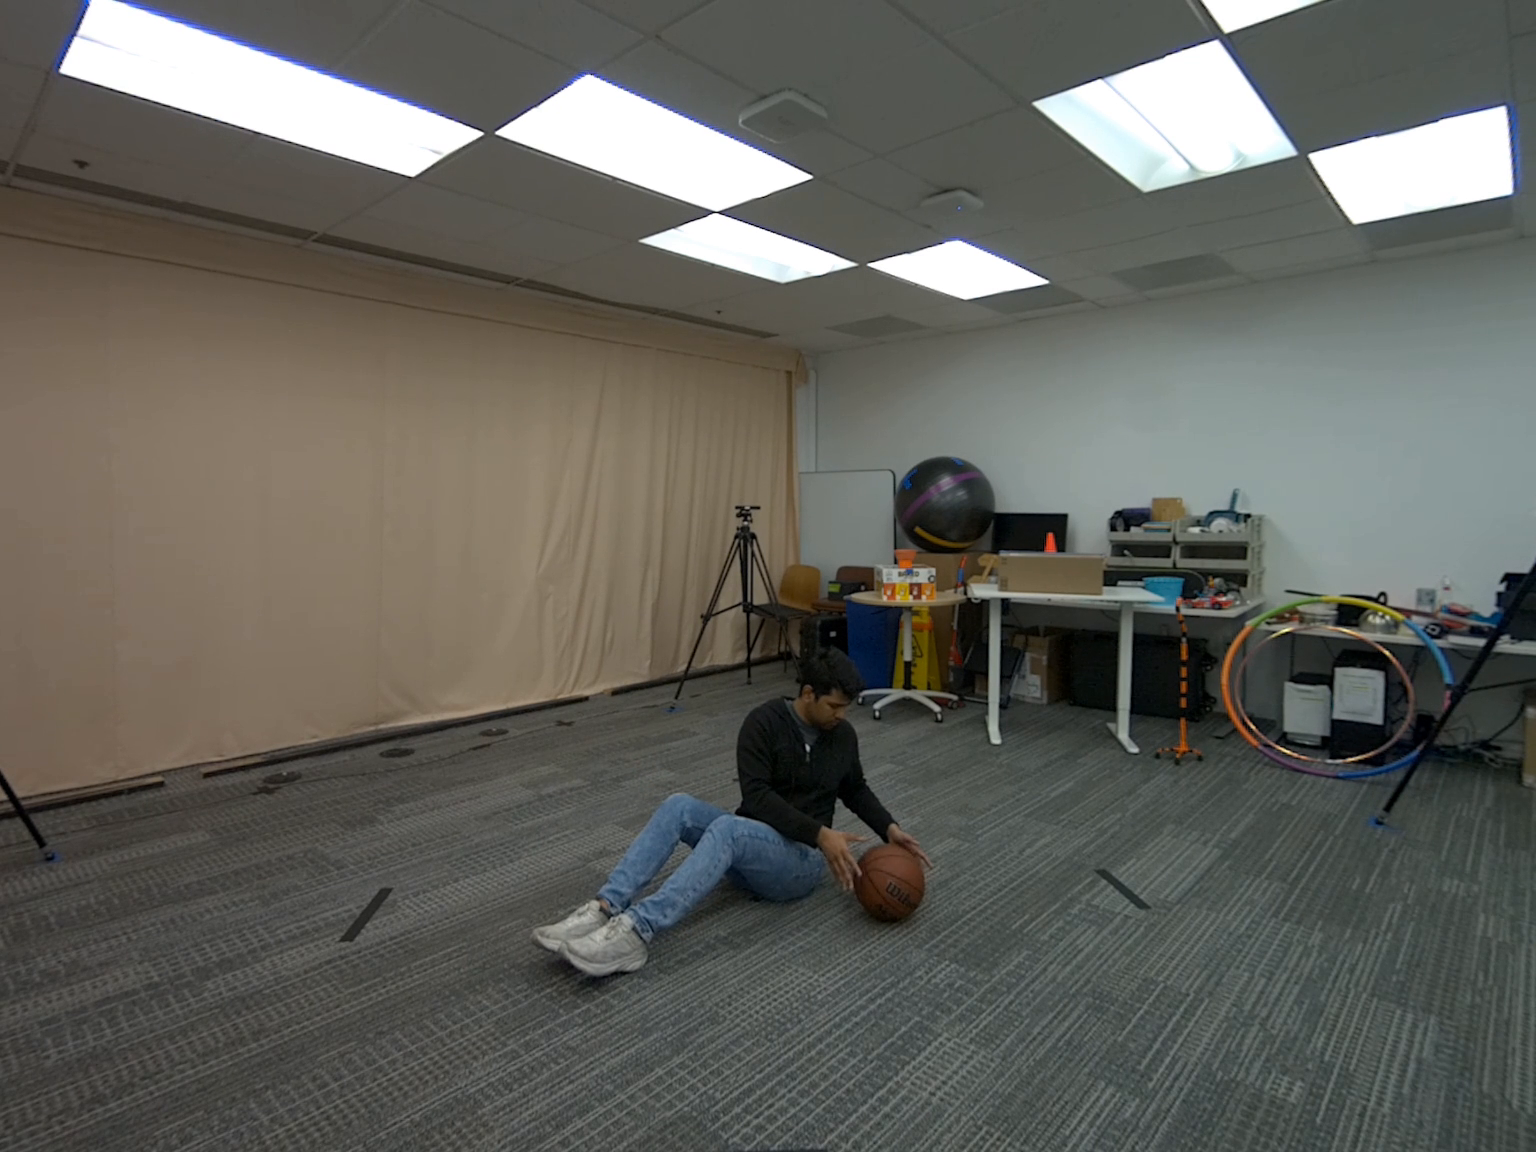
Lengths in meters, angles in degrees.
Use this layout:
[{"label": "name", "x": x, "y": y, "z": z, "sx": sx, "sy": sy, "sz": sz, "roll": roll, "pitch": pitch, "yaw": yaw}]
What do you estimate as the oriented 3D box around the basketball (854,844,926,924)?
[{"label": "basketball", "x": 0.405, "y": 1.031, "z": 2.847, "sx": 0.236, "sy": 0.235, "sz": 0.237, "roll": 0, "pitch": 4, "yaw": -2}]
